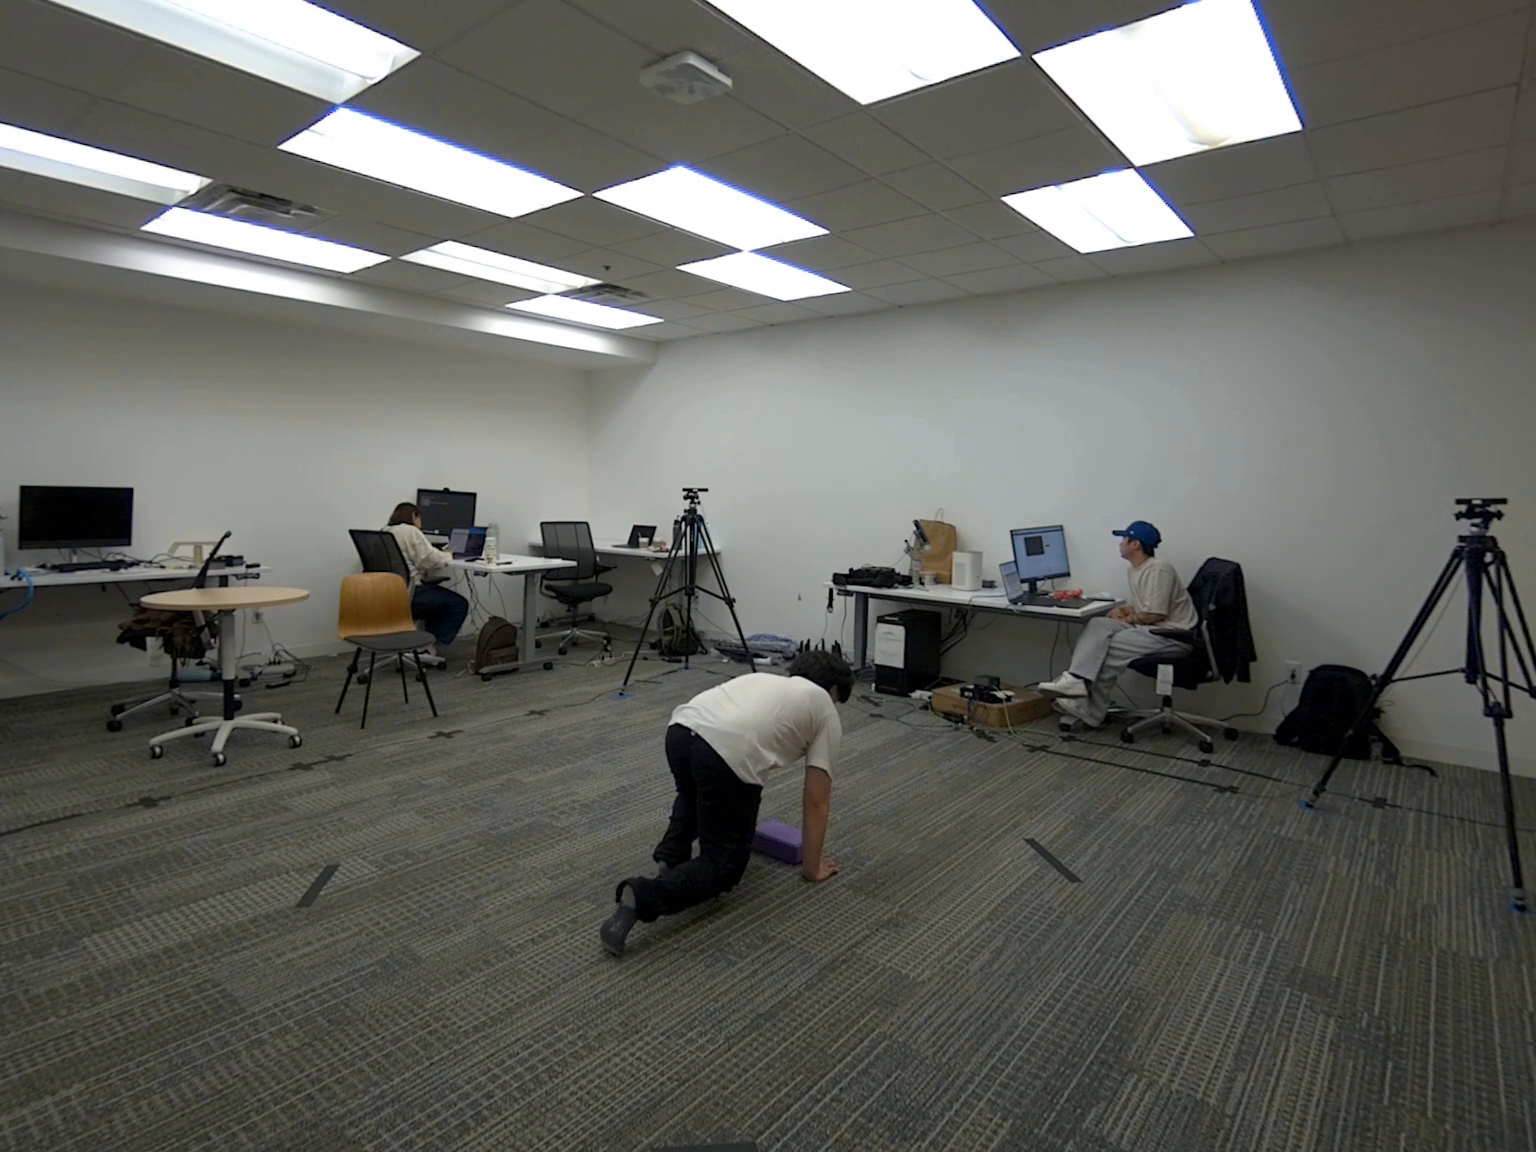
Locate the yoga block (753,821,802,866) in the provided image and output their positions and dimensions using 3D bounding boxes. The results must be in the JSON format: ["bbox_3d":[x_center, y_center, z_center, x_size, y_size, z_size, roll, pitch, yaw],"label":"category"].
[{"bbox_3d":[0.048,1.022,3.268,0.237,0.076,0.144,7,7,38],"label":"yoga block"}]
